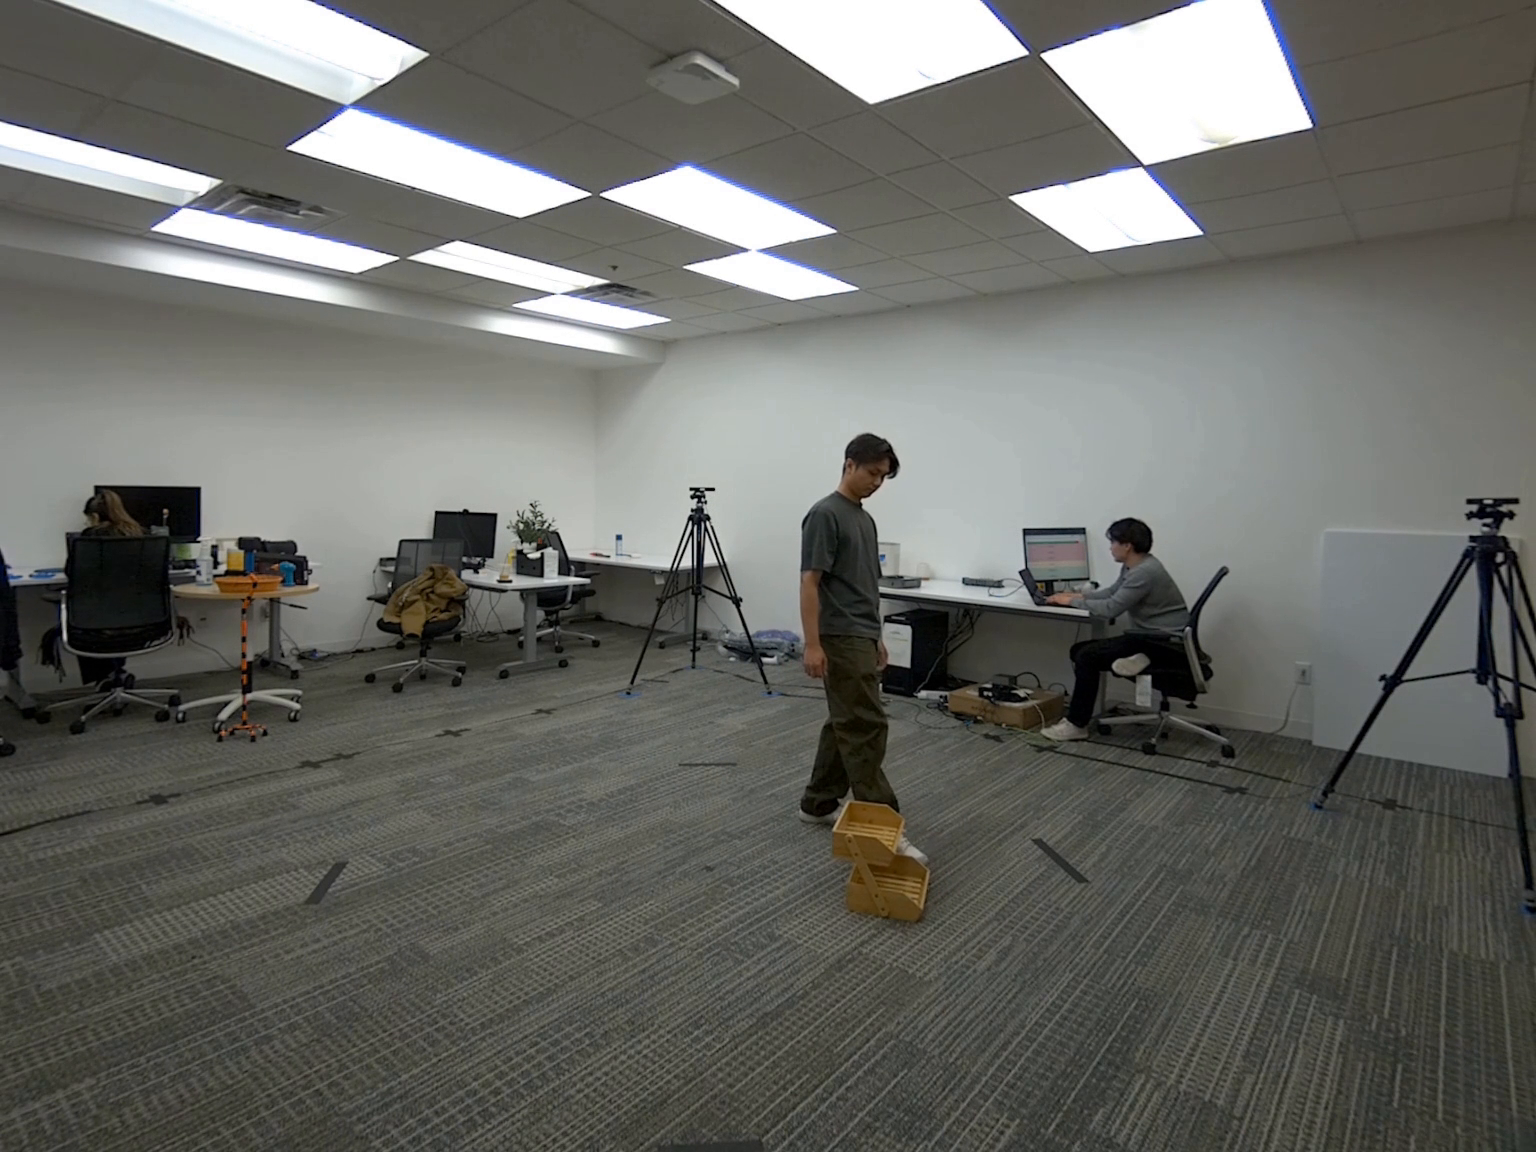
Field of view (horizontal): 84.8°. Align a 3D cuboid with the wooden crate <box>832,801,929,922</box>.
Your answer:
[{"bbox_3d":[0.391,0.963,2.930,0.308,0.272,0.320,2,5,17],"label":"wooden crate"}]
